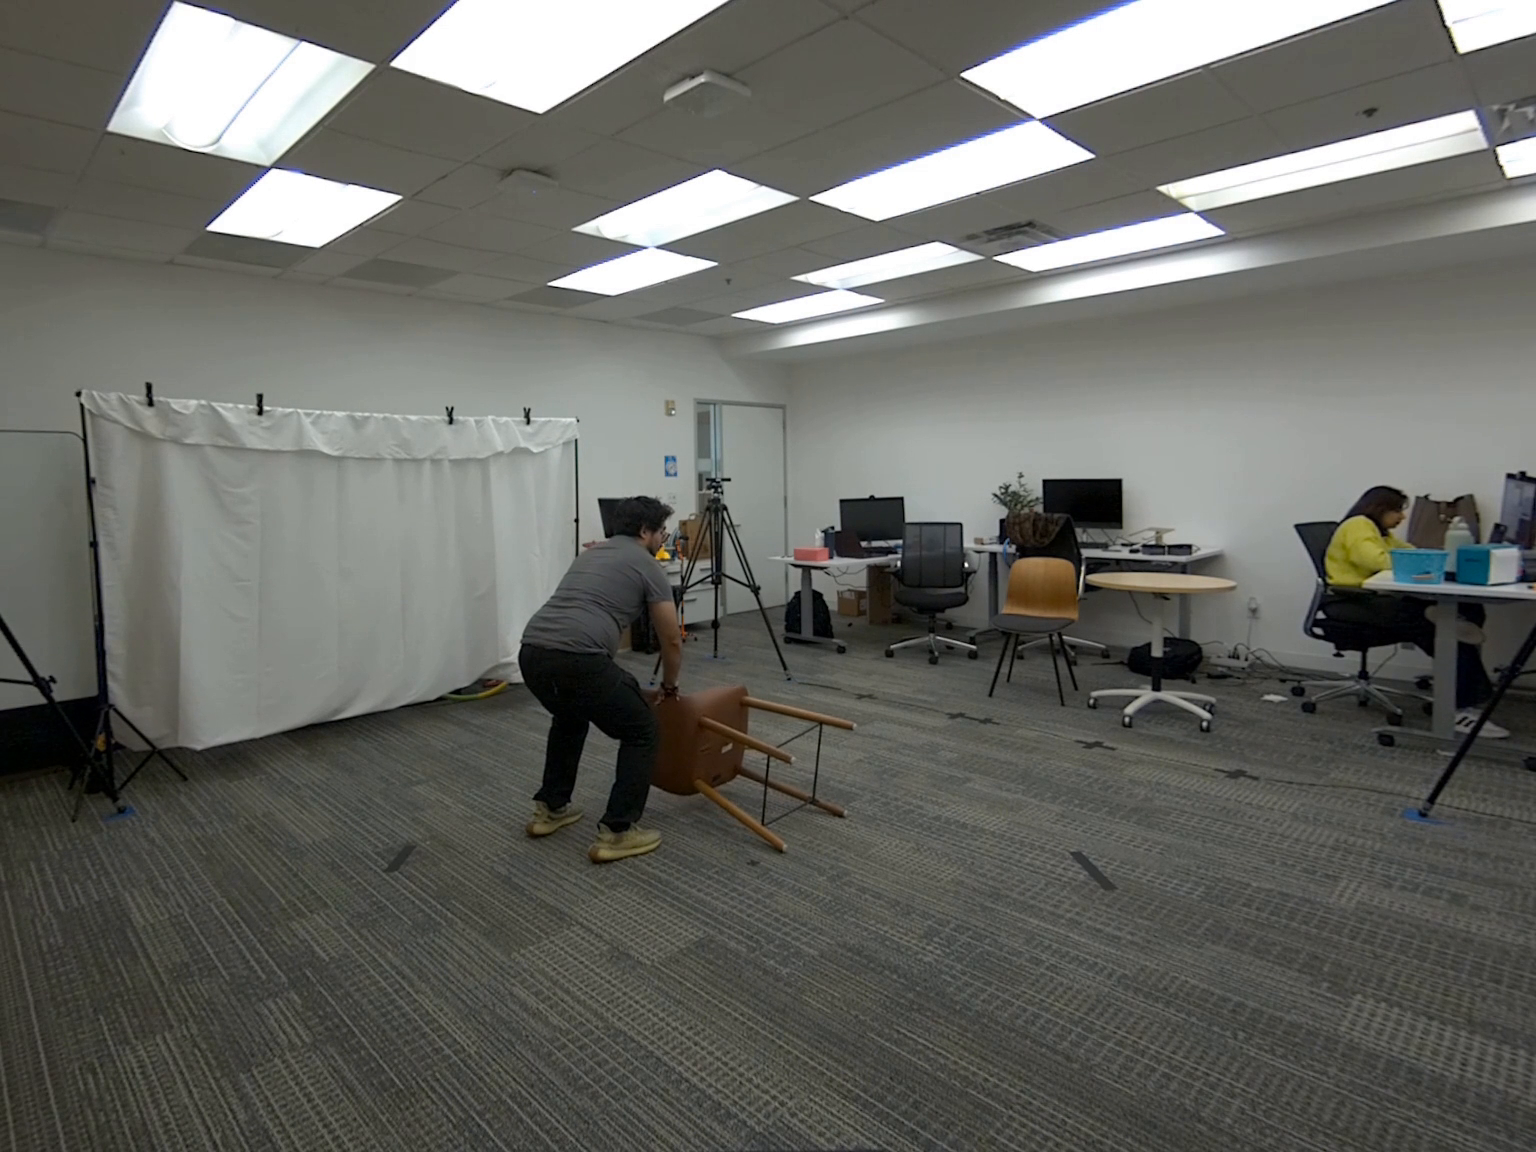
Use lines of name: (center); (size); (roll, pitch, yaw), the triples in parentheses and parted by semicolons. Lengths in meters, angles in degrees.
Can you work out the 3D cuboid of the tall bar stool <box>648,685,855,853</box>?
tall bar stool: (-0.139, 0.737, 3.580); (0.919, 0.452, 0.457); (13, 14, 36)
